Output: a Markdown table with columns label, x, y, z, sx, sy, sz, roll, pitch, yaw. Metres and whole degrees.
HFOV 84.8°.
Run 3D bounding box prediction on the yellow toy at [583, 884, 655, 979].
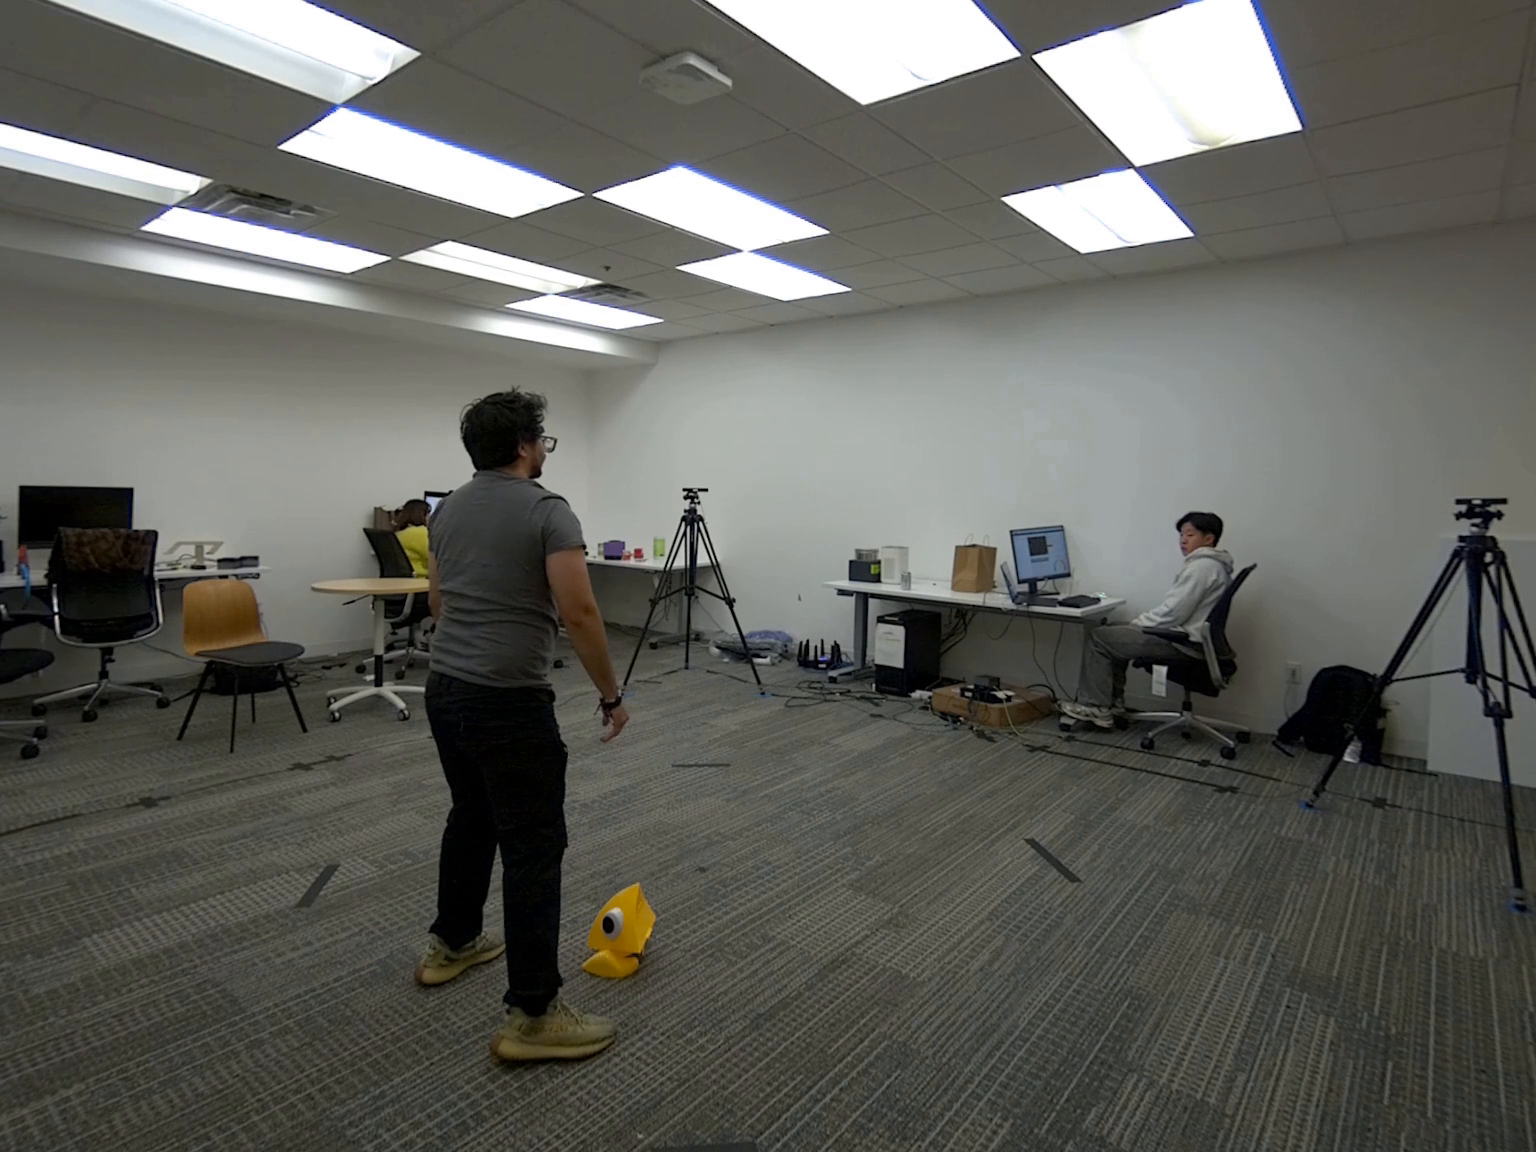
| label | x | y | z | sx | sy | sz | roll | pitch | yaw |
| --- | --- | --- | --- | --- | --- | --- | --- | --- | --- |
| yellow toy | -0.451 | 1.012 | 2.502 | 0.194 | 0.230 | 0.204 | 1 | 5 | 6 |
